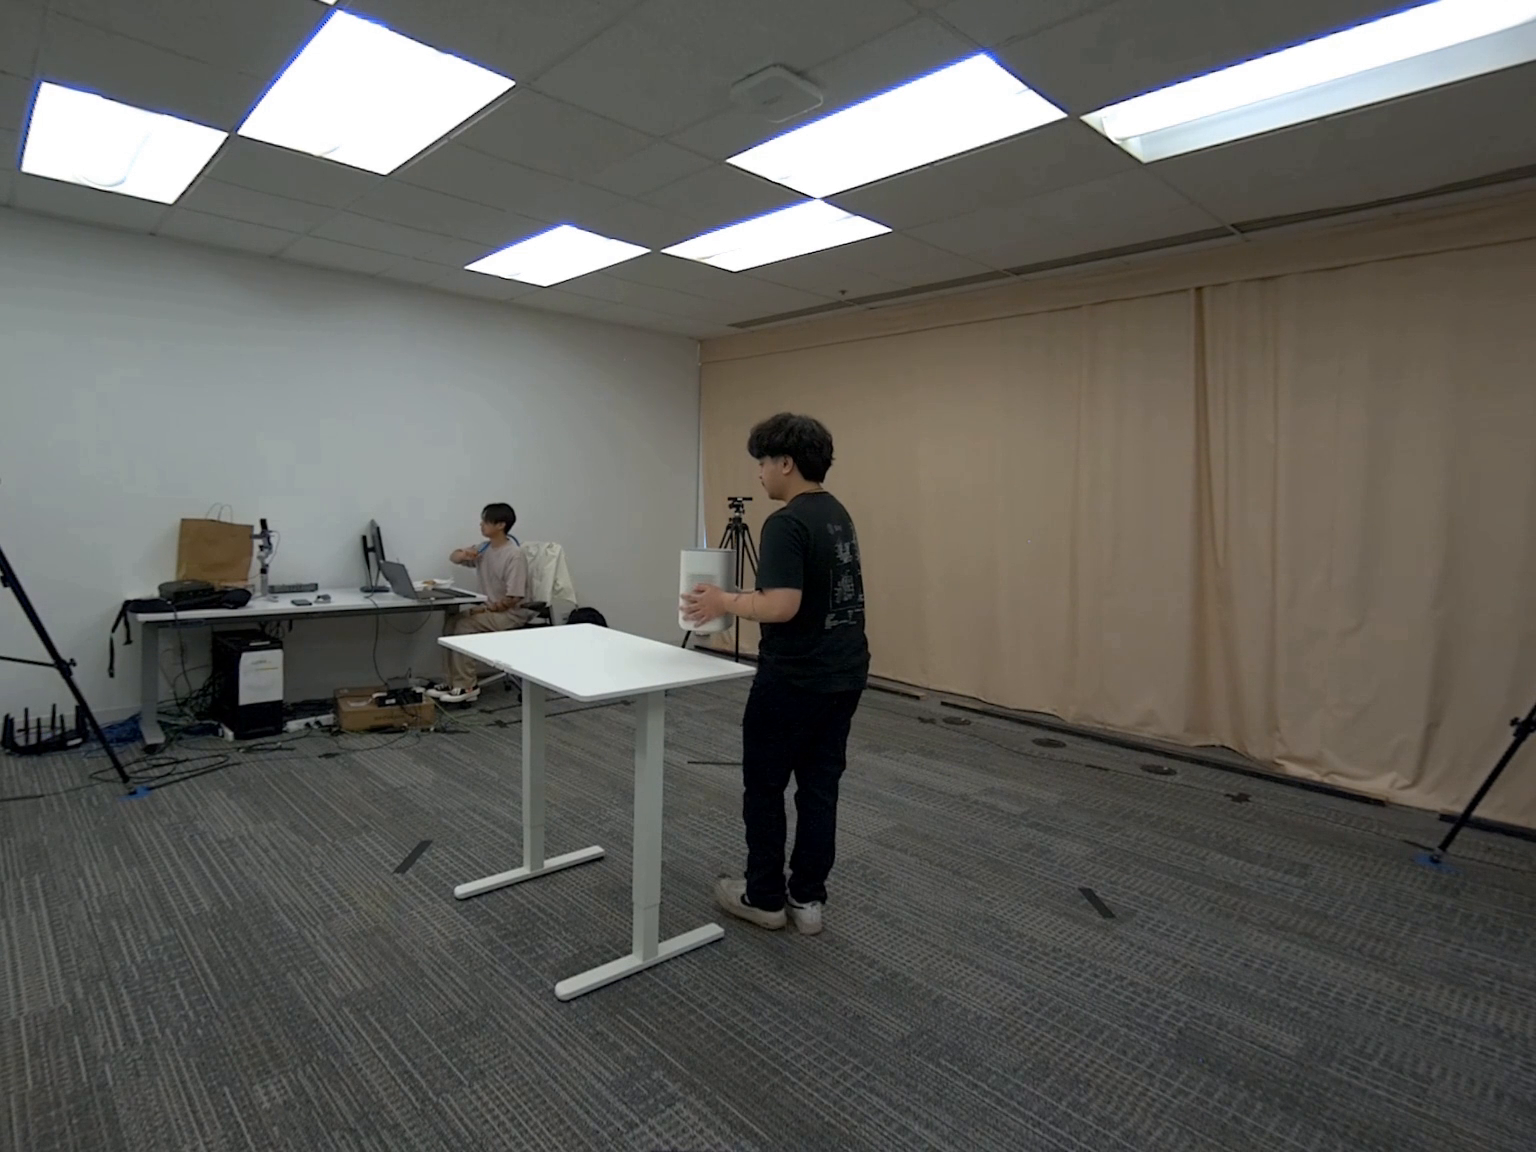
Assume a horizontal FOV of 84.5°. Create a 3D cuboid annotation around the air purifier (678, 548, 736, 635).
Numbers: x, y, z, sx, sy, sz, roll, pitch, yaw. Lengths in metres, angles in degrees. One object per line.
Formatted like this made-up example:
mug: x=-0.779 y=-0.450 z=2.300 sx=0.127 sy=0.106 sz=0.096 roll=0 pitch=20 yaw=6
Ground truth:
air purifier: x=-0.200 y=0.043 z=2.780 sx=0.173 sy=0.265 sz=0.170 roll=3 pitch=3 yaw=7
